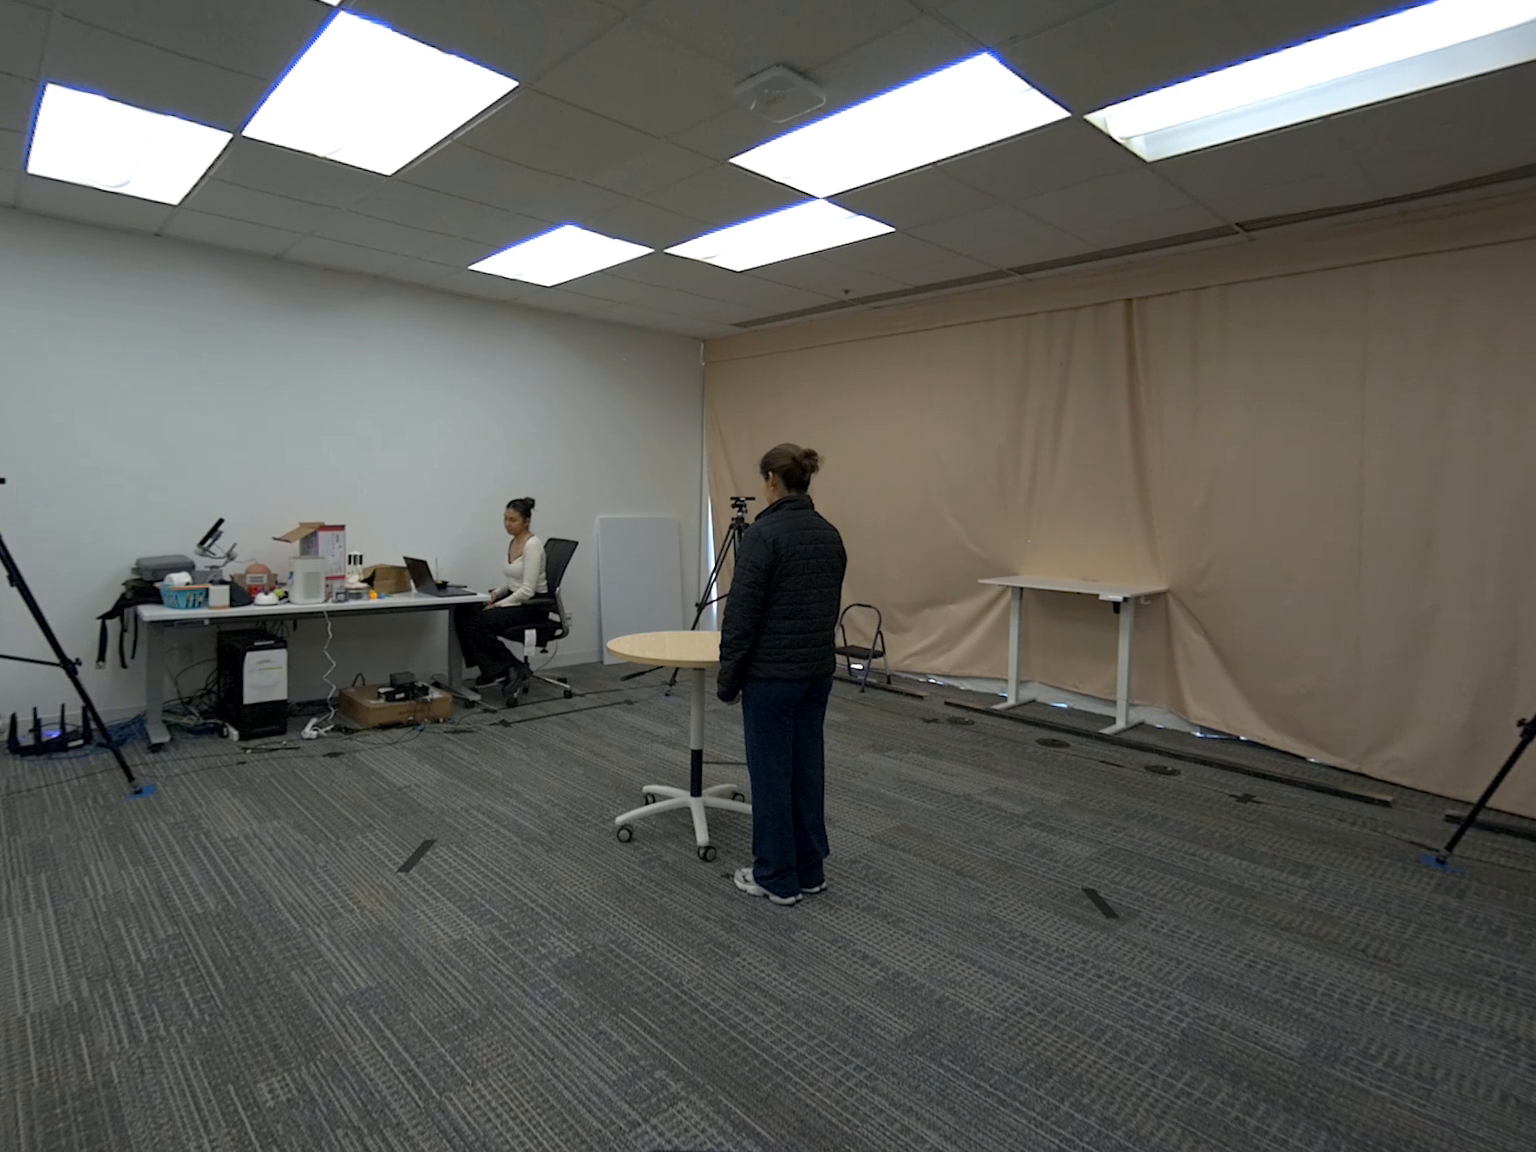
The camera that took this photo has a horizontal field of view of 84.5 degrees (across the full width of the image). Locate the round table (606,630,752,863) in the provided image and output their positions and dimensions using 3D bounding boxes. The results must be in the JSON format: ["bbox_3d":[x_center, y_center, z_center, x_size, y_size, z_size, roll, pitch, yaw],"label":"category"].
[{"bbox_3d":[-0.303,0.675,3.508,0.784,0.785,0.787,1,3,-1],"label":"round table"}]
